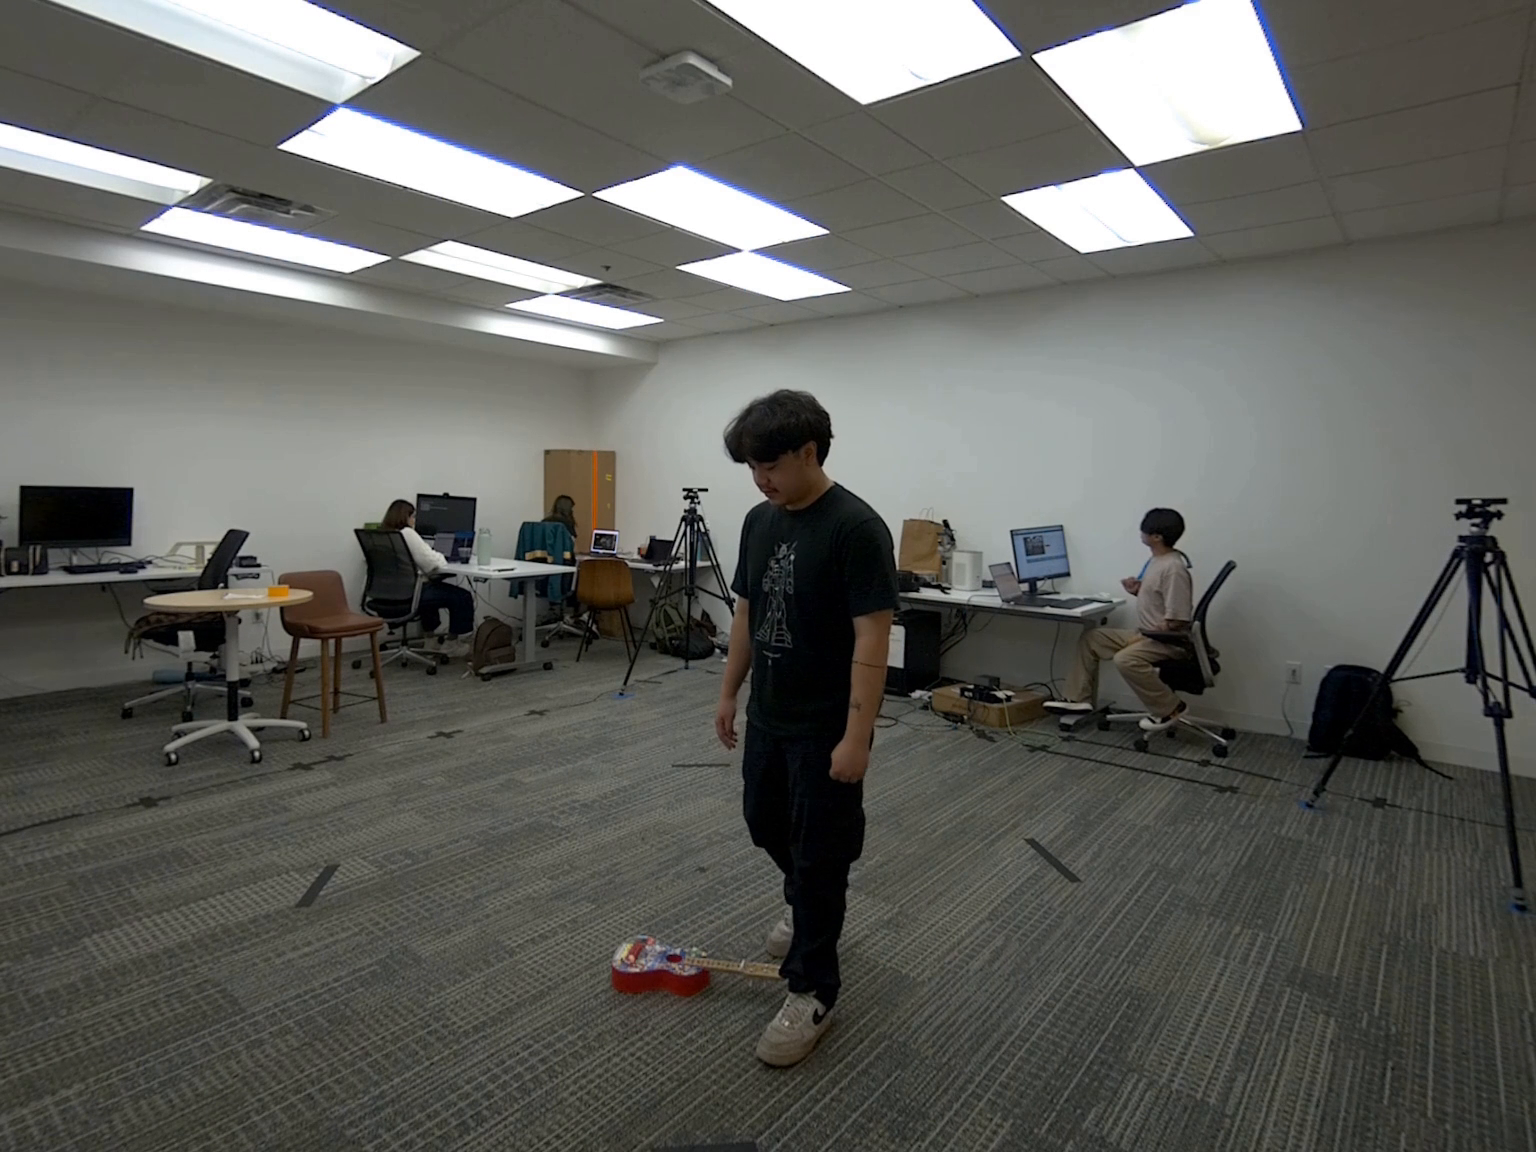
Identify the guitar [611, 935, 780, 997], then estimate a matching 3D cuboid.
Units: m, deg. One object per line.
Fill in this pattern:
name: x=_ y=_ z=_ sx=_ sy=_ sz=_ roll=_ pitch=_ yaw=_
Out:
guitar: x=-0.206 y=1.111 z=2.362 sx=0.508 sy=0.070 sz=0.190 roll=3 pitch=5 yaw=19
